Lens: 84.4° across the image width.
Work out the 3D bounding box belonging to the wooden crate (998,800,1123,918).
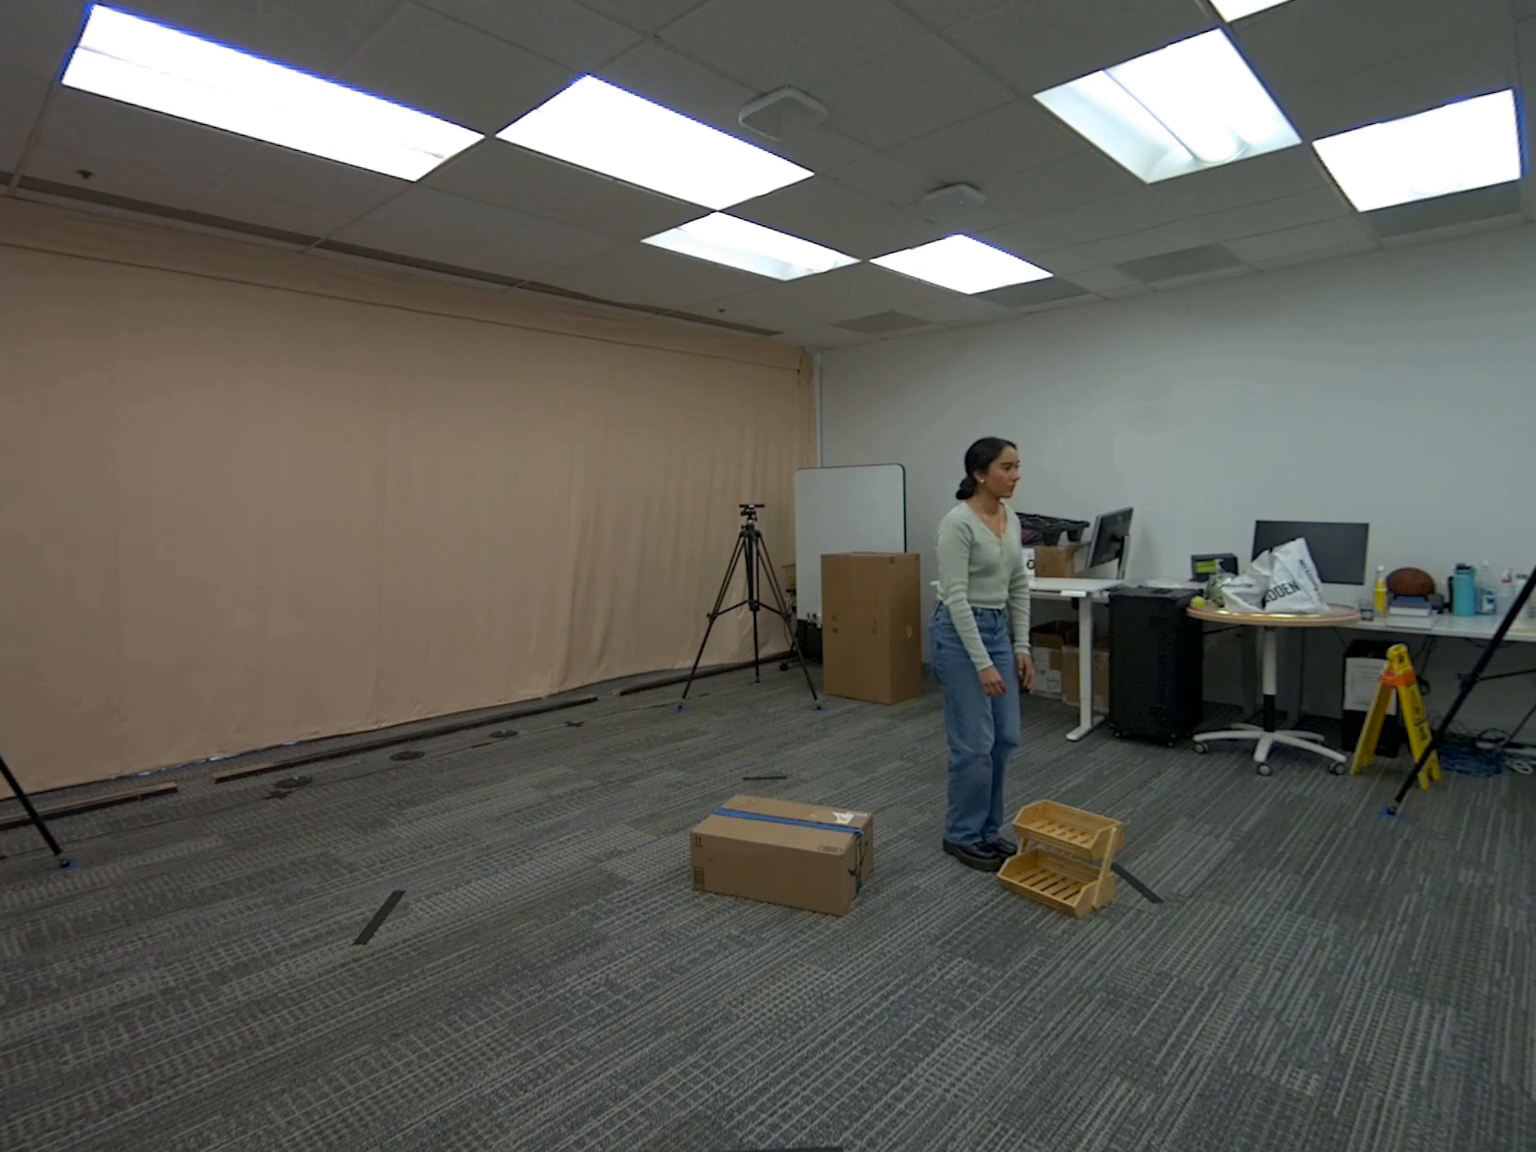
[{"bbox_3d":[1.030,0.980,2.985,0.293,0.273,0.335,-3,4,-39],"label":"wooden crate"}]
